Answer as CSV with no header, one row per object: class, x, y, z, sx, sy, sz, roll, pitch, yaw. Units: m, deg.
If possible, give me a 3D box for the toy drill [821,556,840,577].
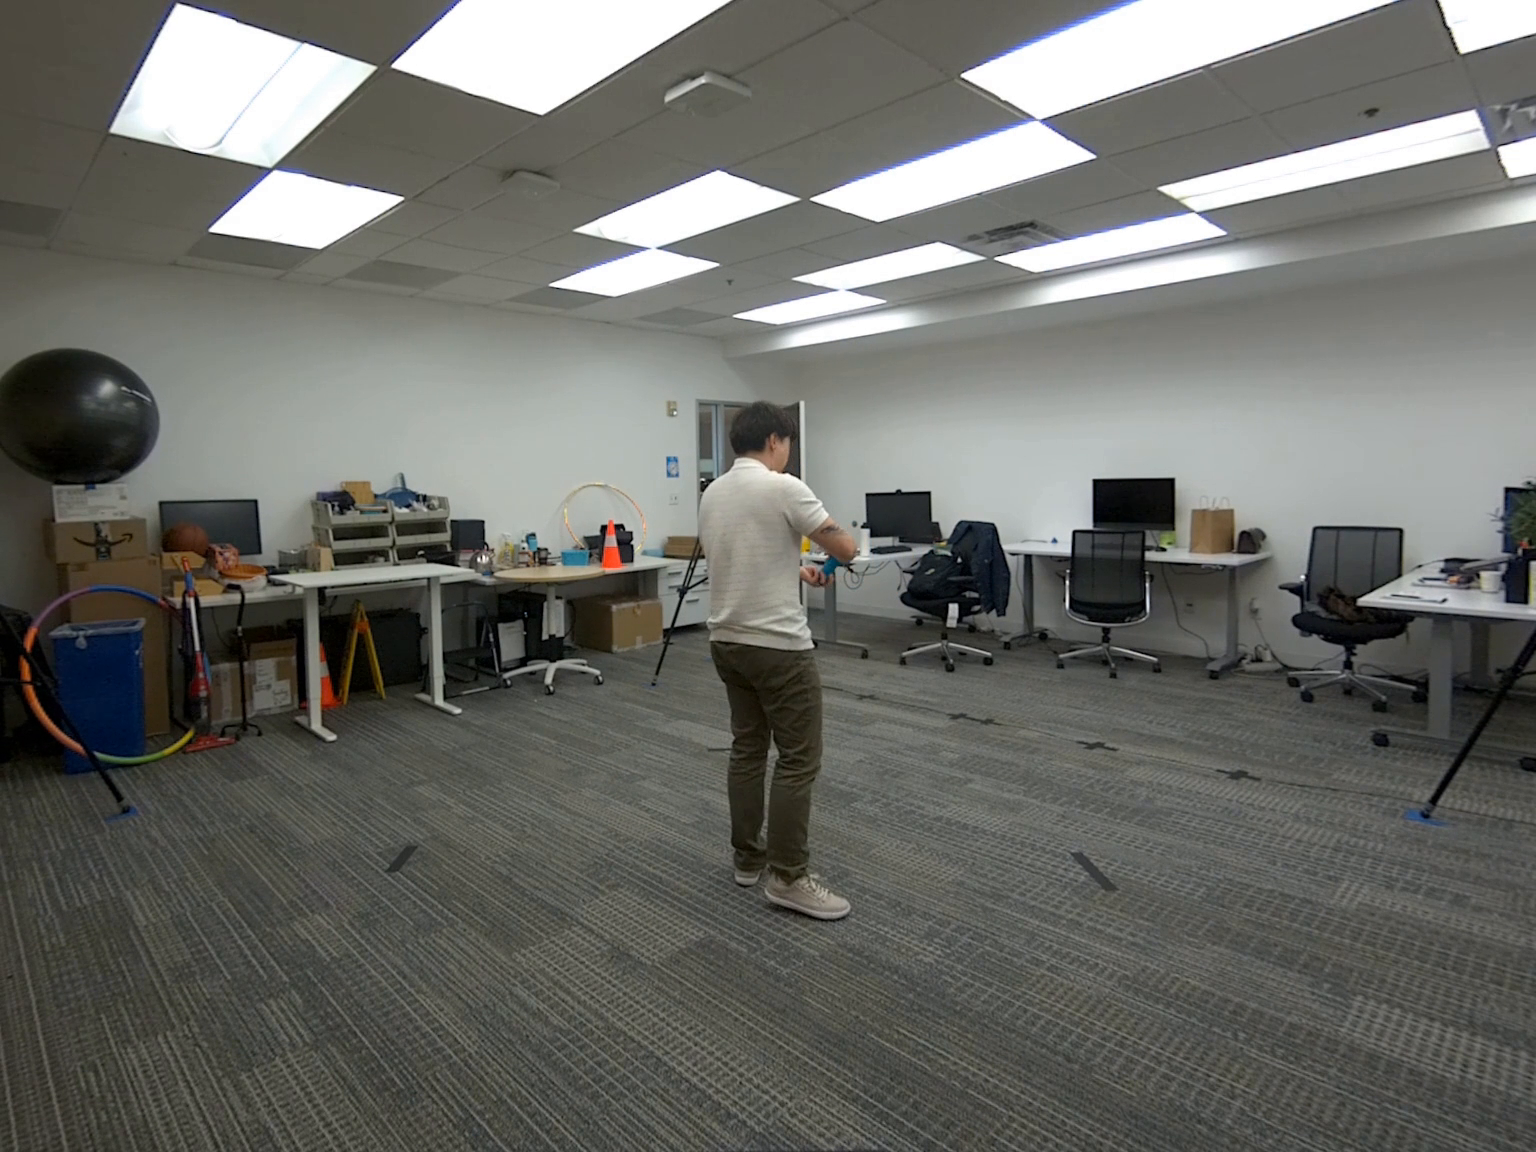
toy drill,0.219,-0.074,3.155,0.167,0.146,0.062,42,6,-14
